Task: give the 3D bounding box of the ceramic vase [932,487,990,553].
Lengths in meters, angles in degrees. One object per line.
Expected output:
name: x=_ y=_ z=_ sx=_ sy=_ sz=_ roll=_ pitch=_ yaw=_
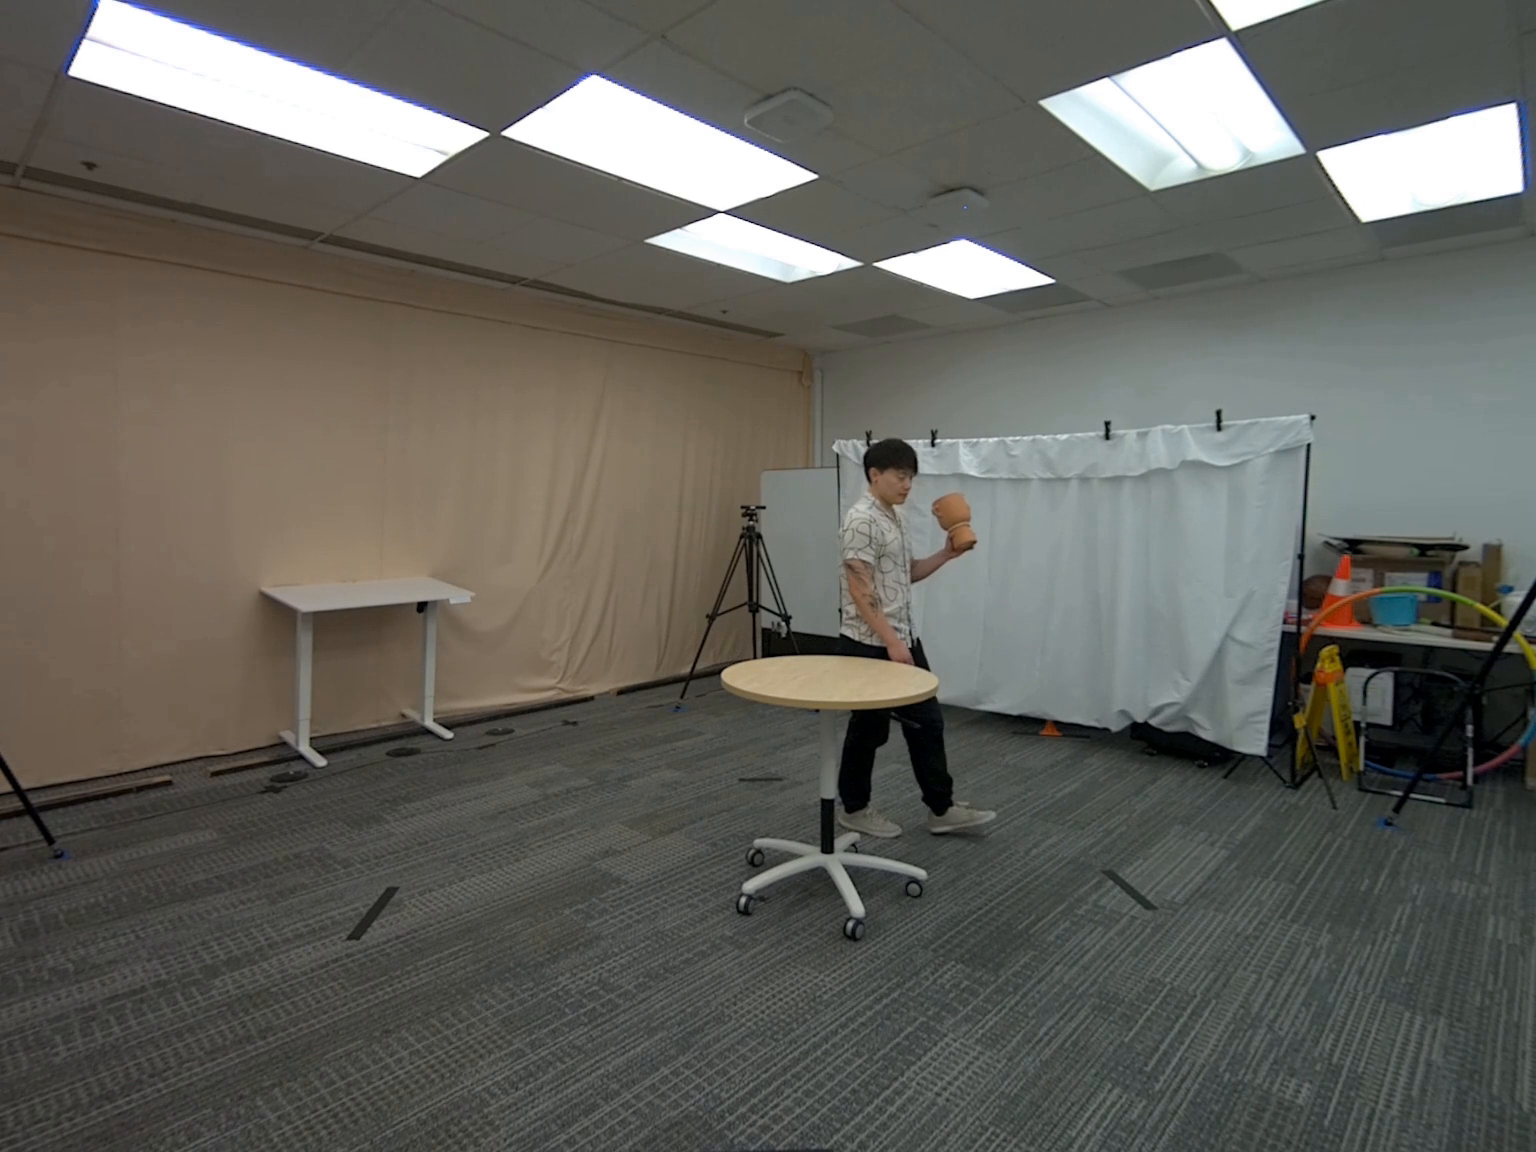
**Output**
ceramic vase: x=0.805 y=-0.227 z=3.545 sx=0.160 sy=0.223 sz=0.131 roll=-20 pitch=-20 yaw=12
